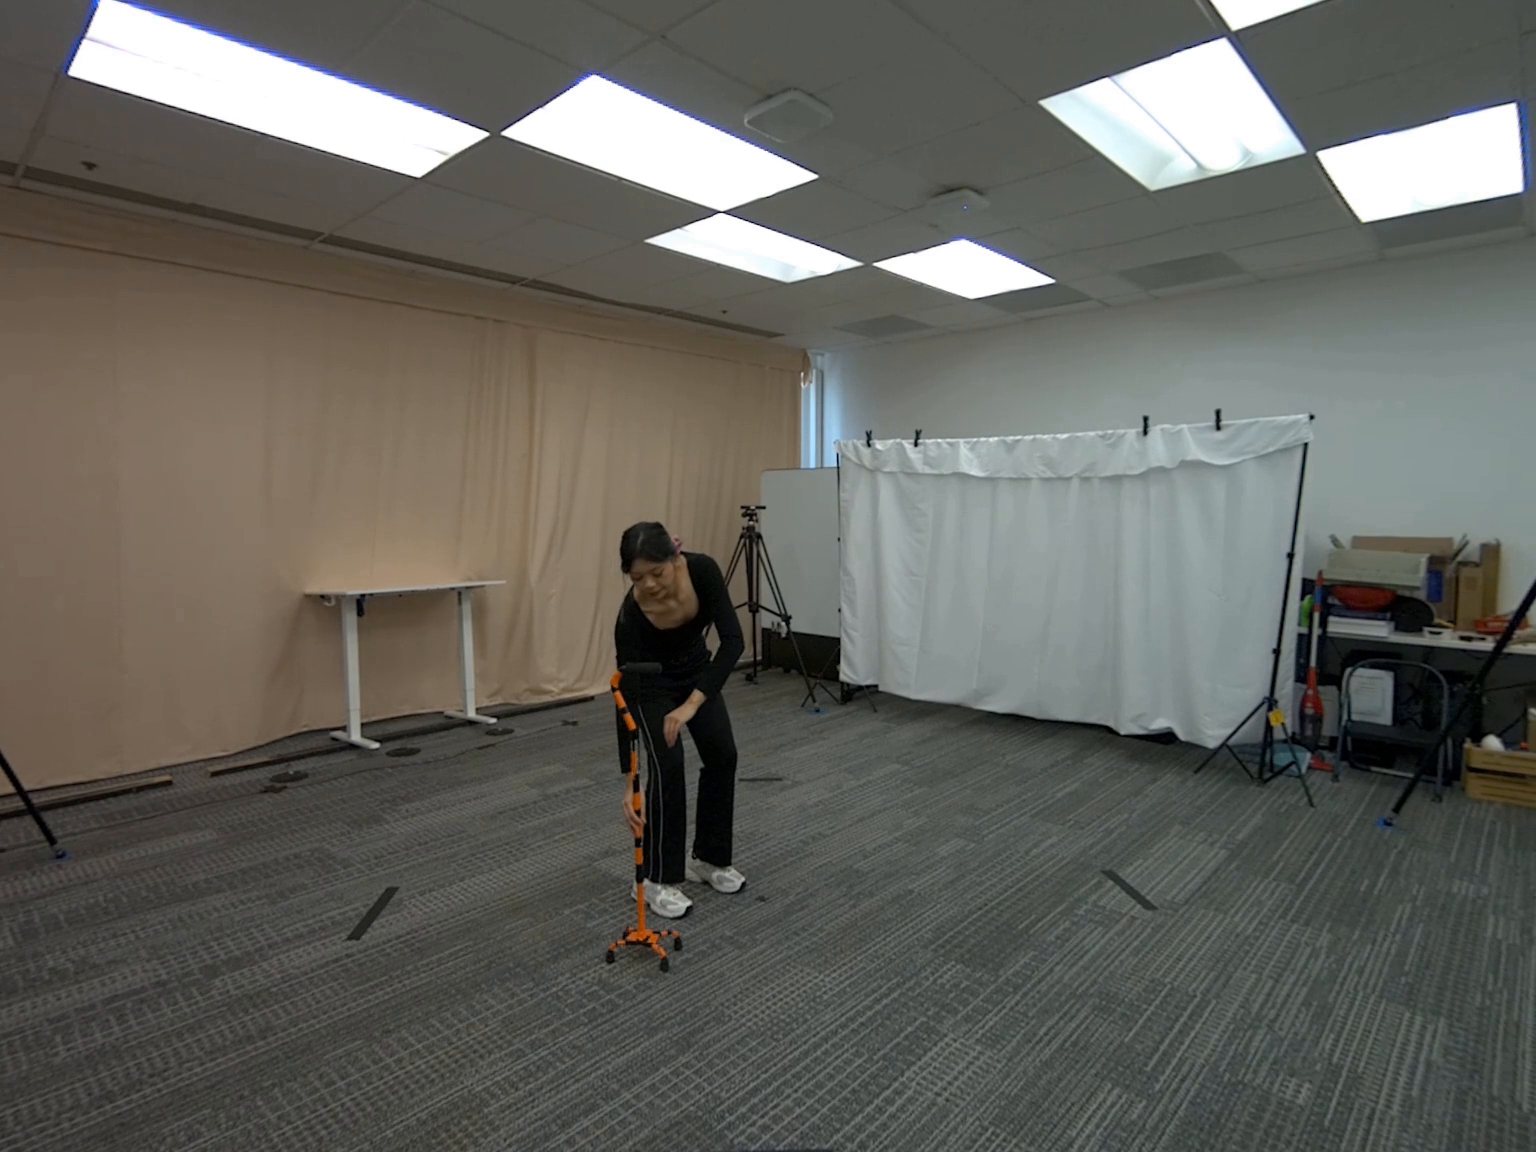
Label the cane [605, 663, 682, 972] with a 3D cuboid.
[{"bbox_3d":[-0.388,0.717,2.597,0.210,0.906,0.149,0,3,16],"label":"cane"}]
